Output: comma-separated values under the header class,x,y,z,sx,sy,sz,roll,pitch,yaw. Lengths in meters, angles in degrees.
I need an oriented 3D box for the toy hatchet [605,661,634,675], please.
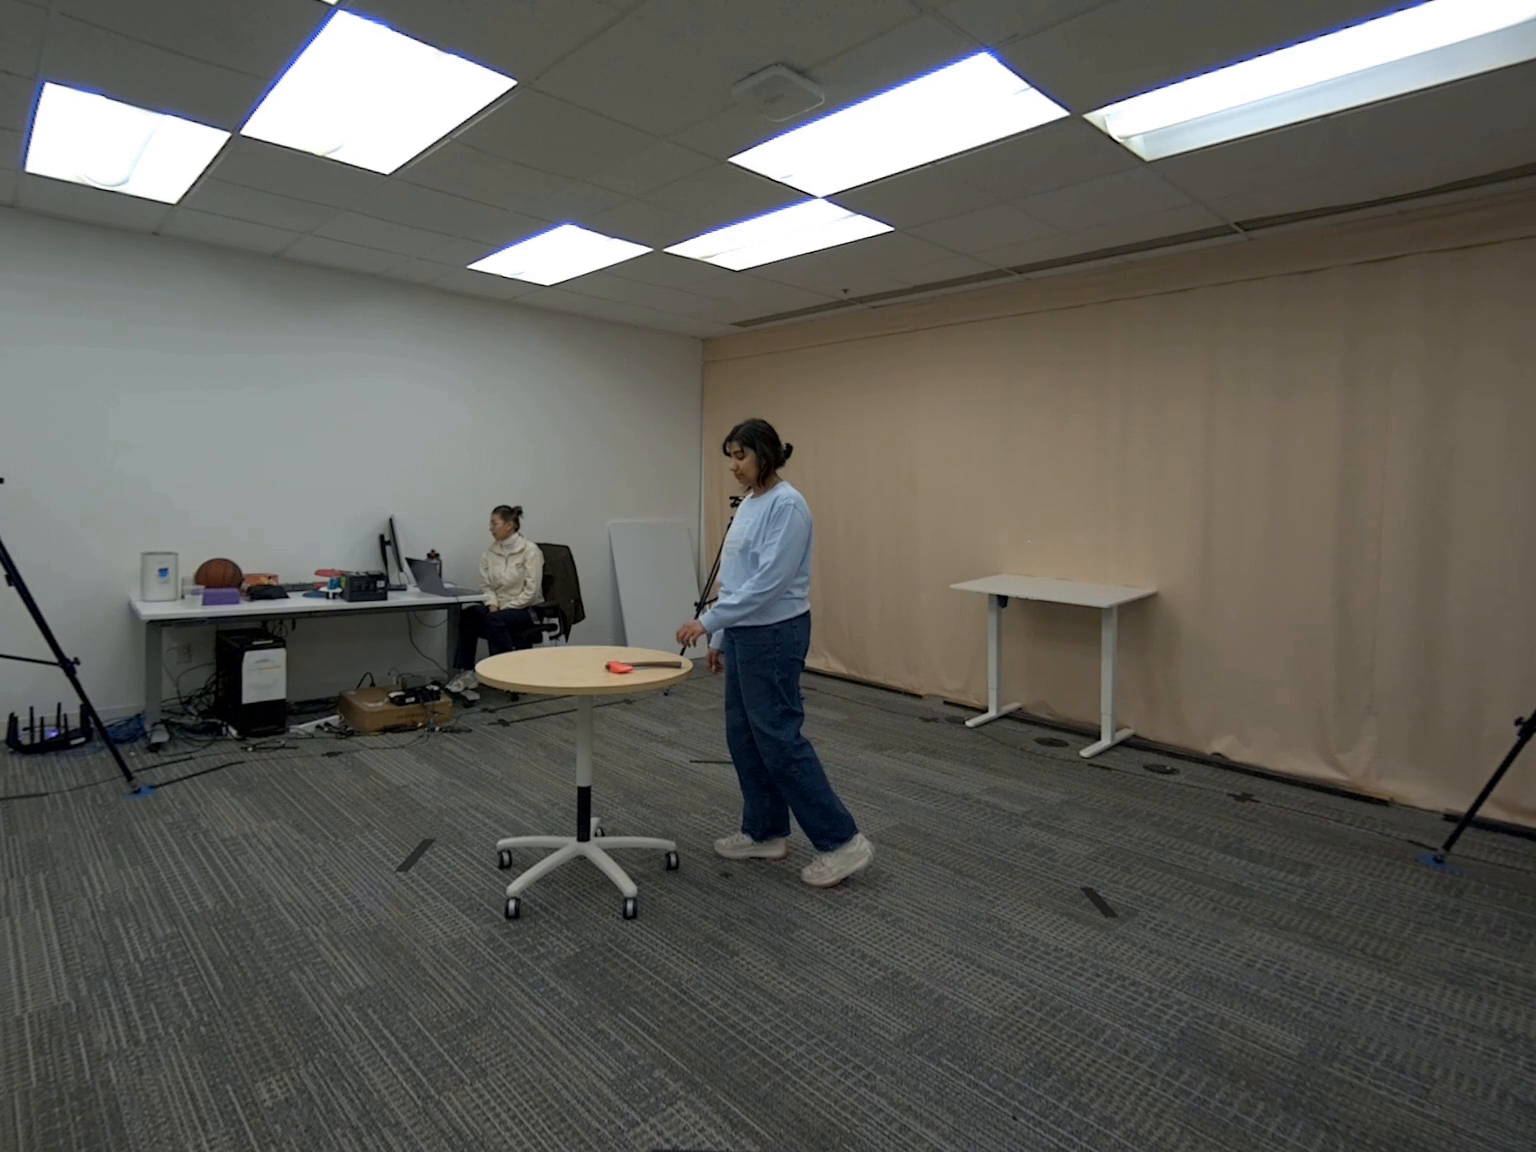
class,x,y,z,sx,sy,sz,roll,pitch,yaw
toy hatchet,-0.433,0.318,2.904,0.268,0.029,0.132,1,4,-8
